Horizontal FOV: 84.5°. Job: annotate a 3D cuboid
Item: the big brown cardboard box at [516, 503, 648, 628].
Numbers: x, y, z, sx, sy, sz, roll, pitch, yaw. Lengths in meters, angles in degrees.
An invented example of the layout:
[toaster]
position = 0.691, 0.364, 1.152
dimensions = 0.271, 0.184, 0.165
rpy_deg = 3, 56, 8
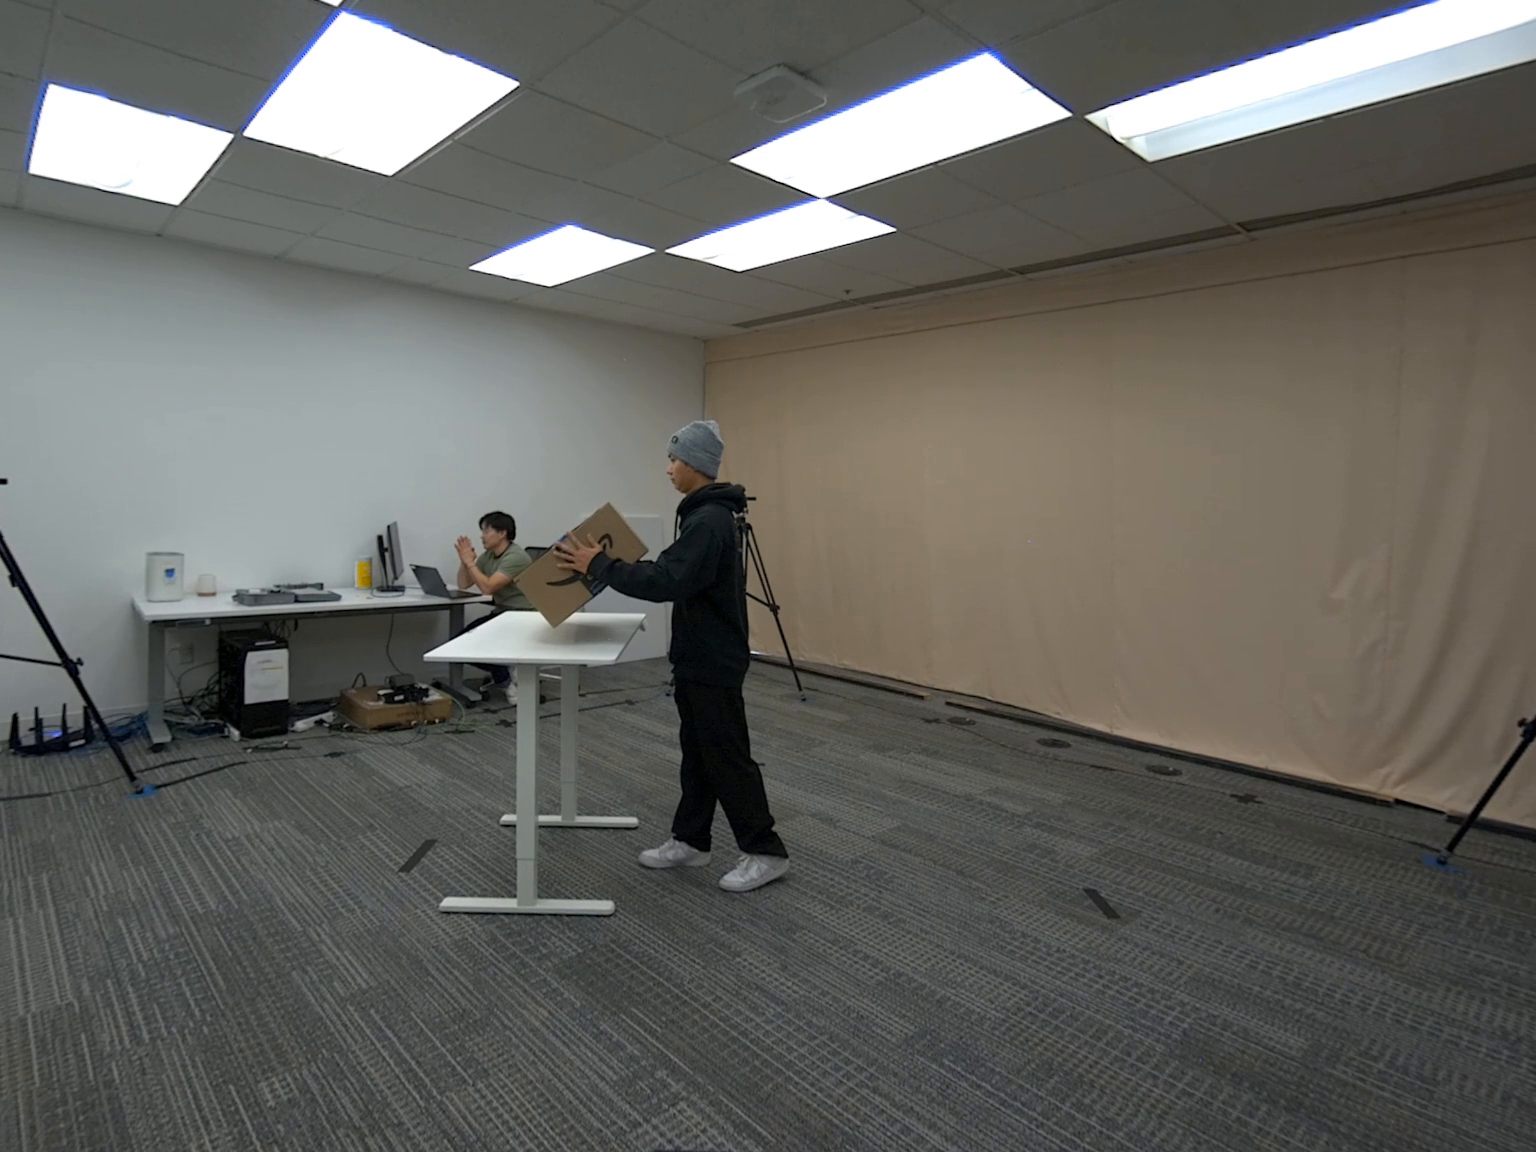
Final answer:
[big brown cardboard box]
position = -0.670, -0.052, 3.107
dimensions = 0.417, 0.231, 0.594
rpy_deg = -40, 8, -4
